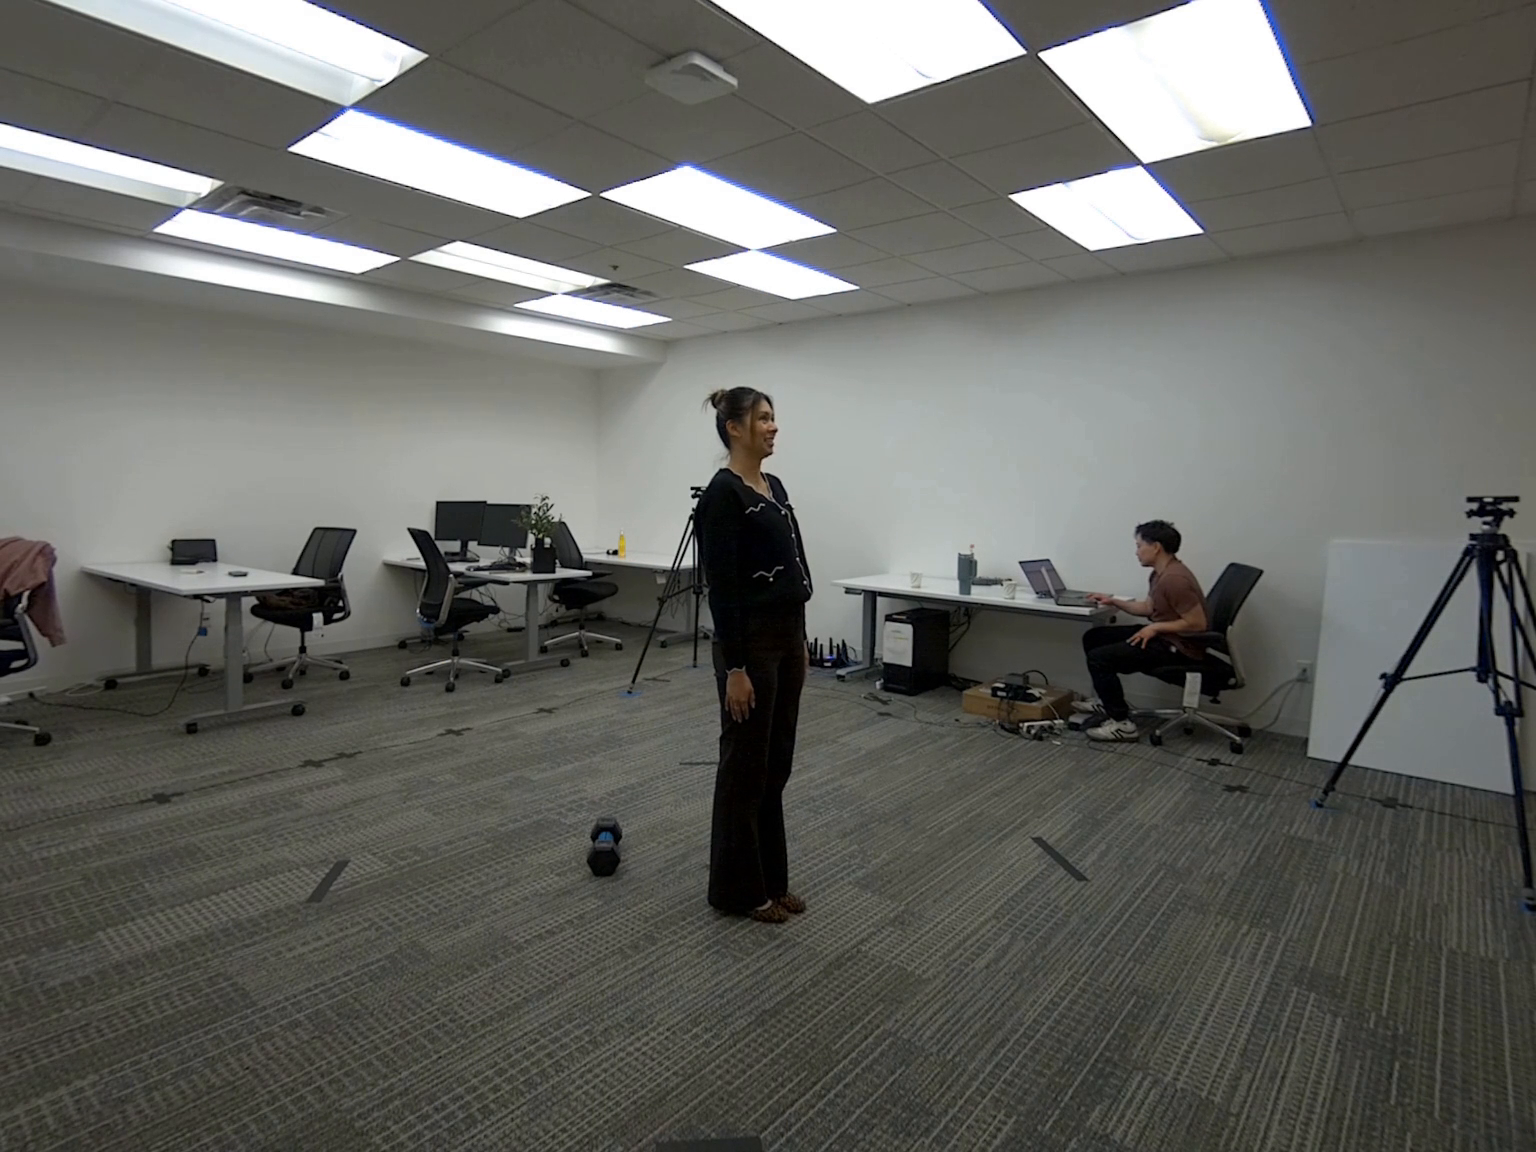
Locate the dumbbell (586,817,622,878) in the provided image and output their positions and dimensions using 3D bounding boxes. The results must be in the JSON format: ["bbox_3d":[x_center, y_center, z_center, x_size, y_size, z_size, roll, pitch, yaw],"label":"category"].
[{"bbox_3d":[-0.617,1.001,3.159,0.108,0.122,0.297,-28,8,-5],"label":"dumbbell"}]
